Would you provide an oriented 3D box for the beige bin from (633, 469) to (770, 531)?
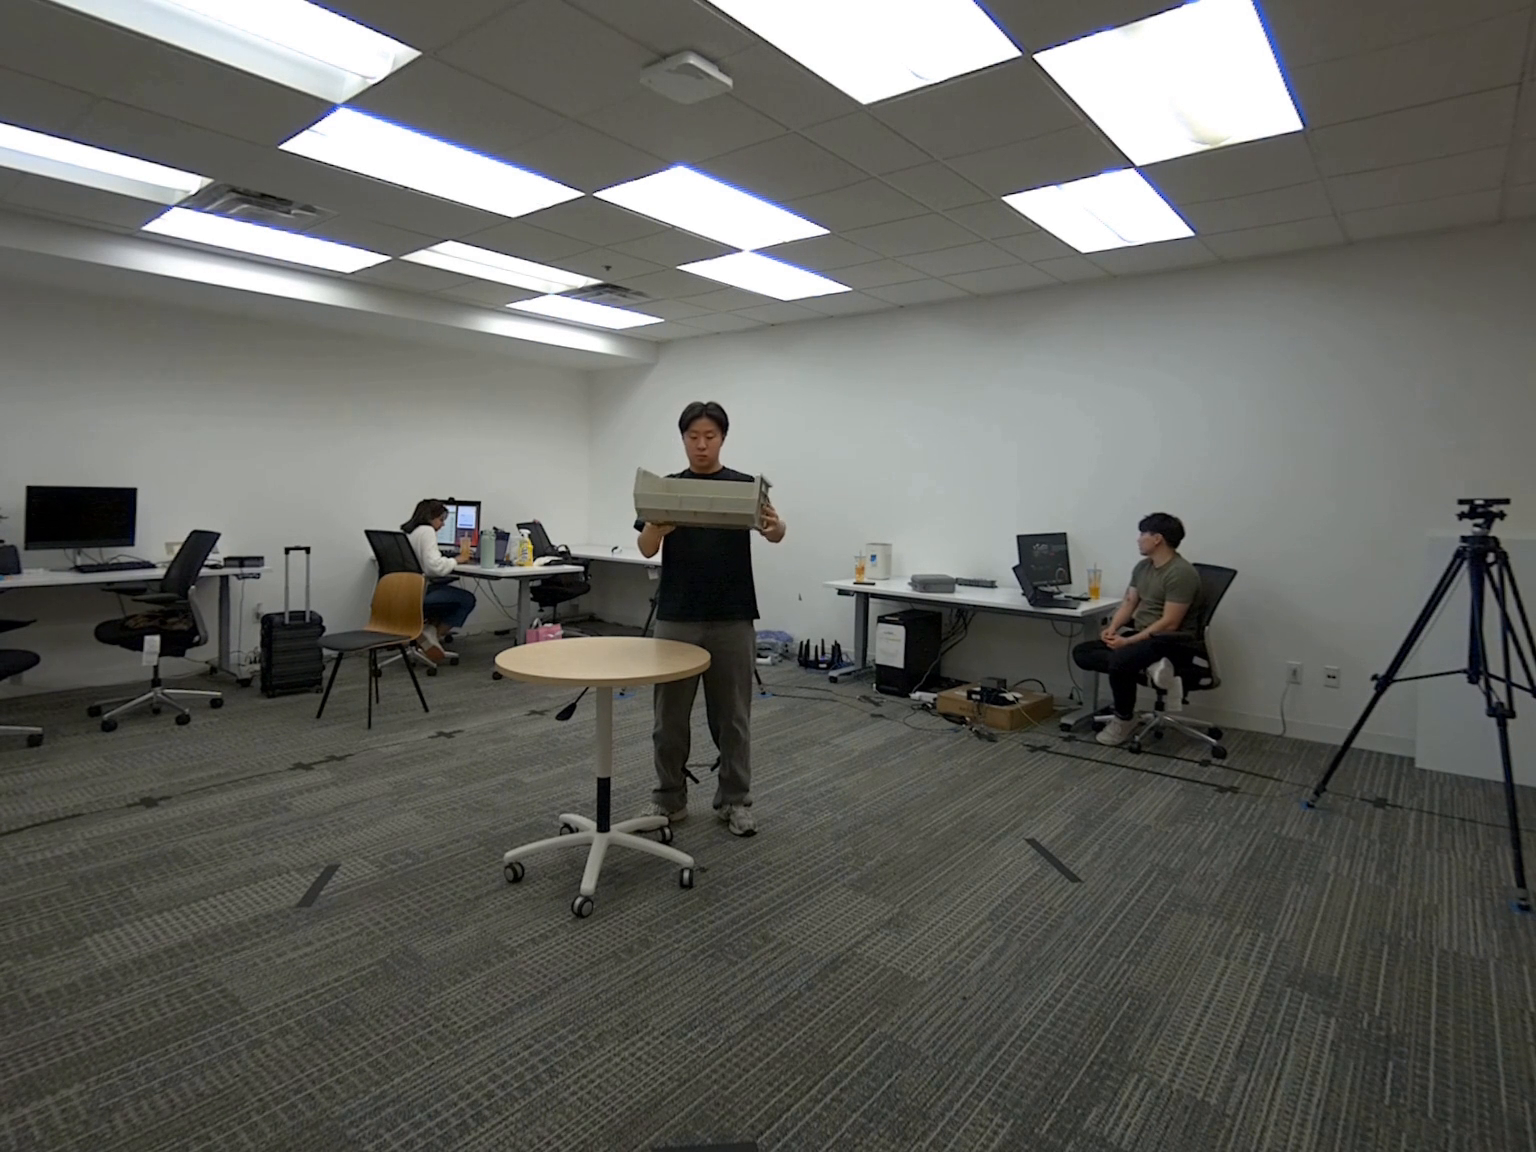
[{"bbox_3d":[-0.232,-0.268,2.972,0.427,0.189,0.373,3,-1,8],"label":"beige bin"}]
